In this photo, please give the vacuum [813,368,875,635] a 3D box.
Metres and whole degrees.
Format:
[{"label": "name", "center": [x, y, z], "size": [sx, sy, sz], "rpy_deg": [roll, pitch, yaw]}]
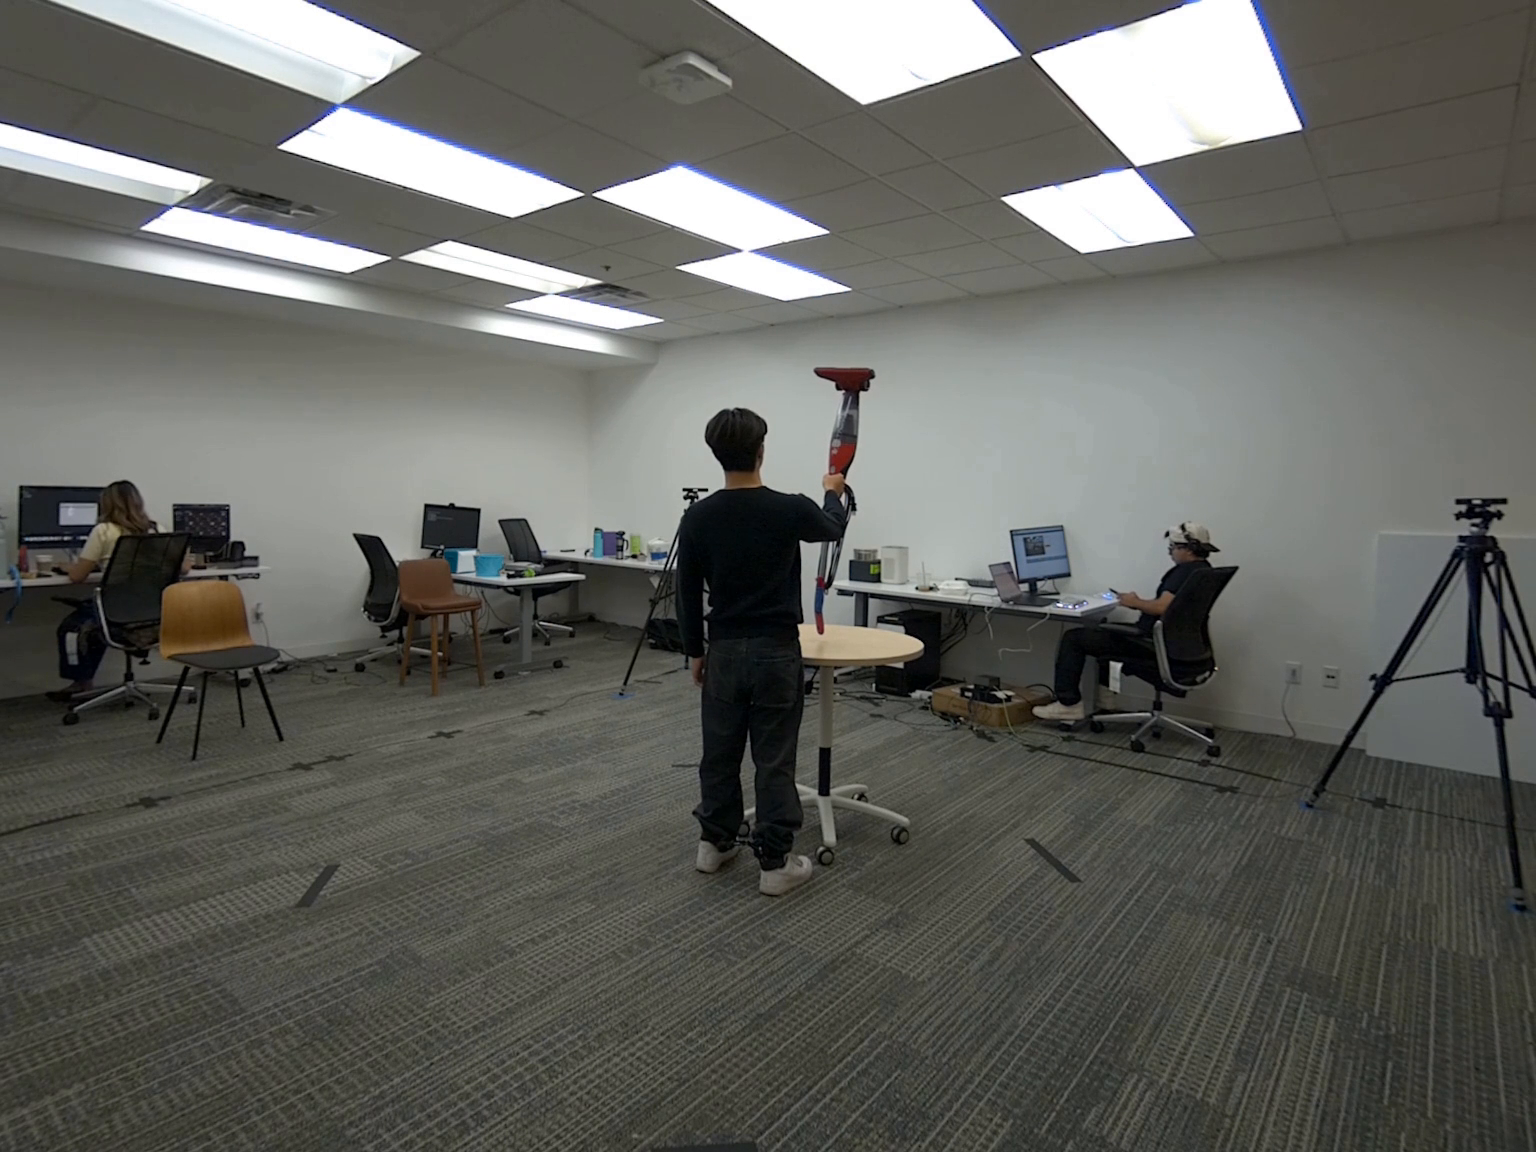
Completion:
[{"label": "vacuum", "center": [0.268, -0.294, 3.446], "size": [0.261, 1.045, 0.140], "rpy_deg": [8, 5, 35]}]
